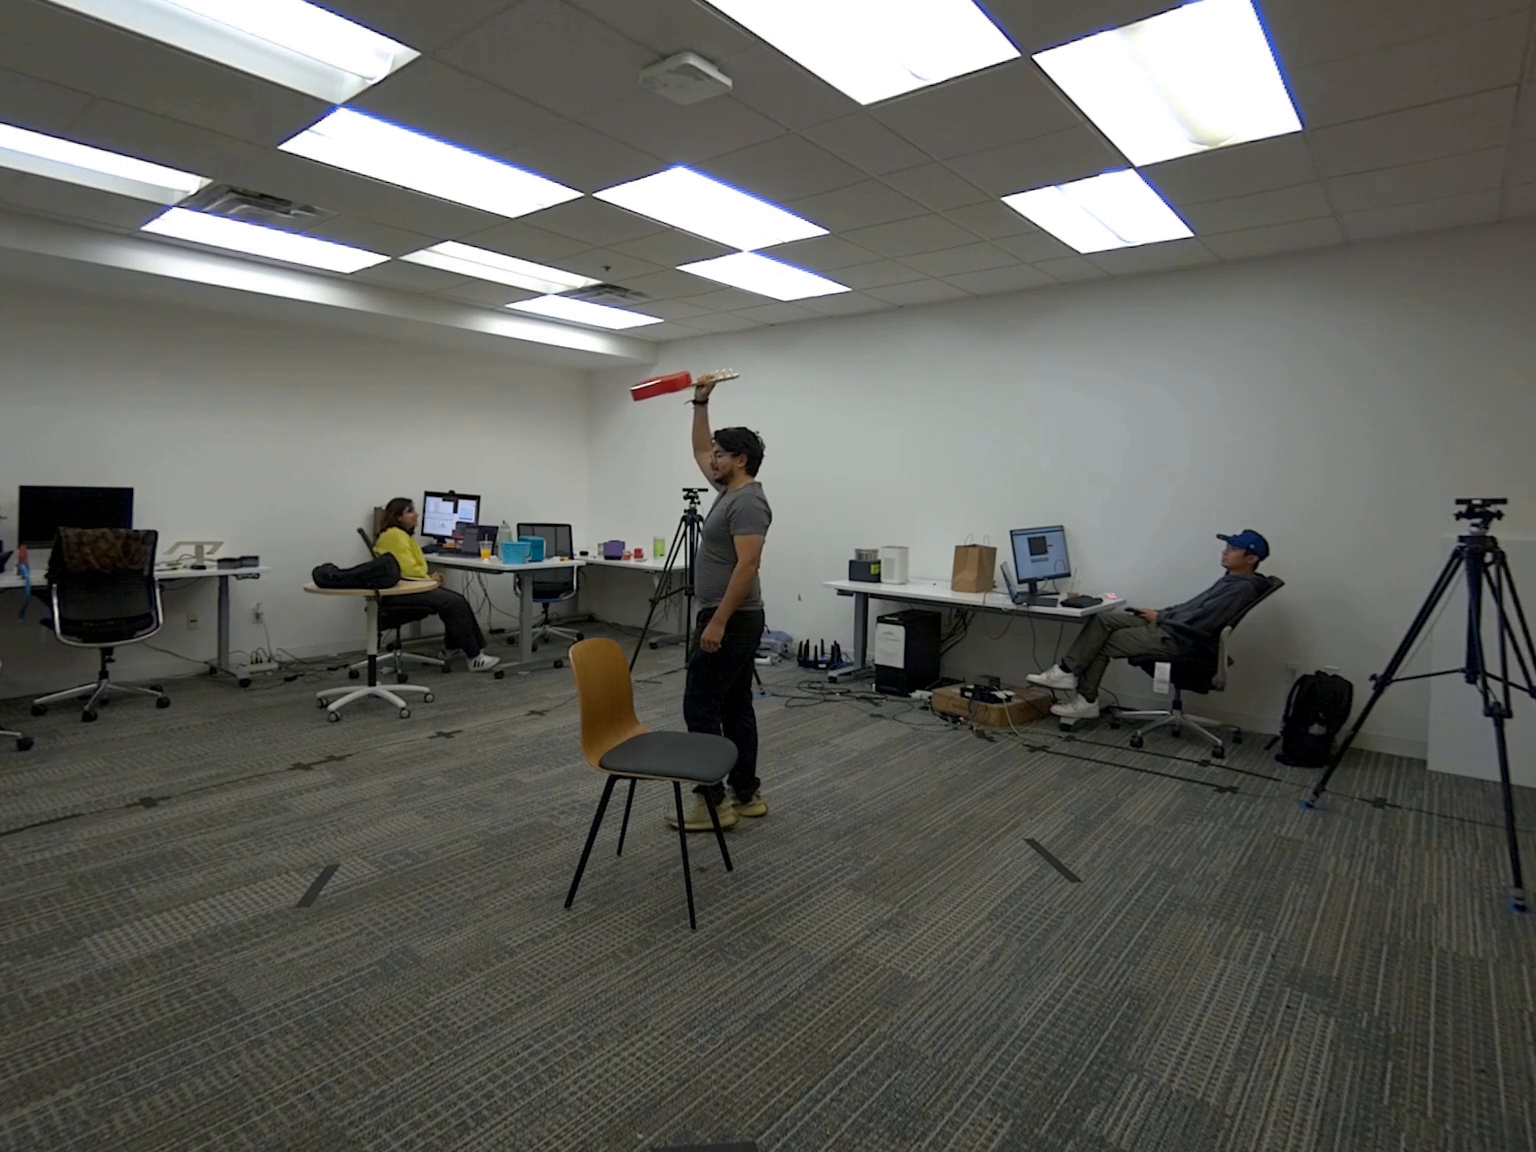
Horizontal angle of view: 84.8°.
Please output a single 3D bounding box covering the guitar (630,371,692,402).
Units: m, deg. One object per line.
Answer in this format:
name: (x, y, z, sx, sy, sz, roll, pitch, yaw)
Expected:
guitar: (-0.377, -0.877, 3.775, 0.504, 0.069, 0.195, -11, 22, 14)
